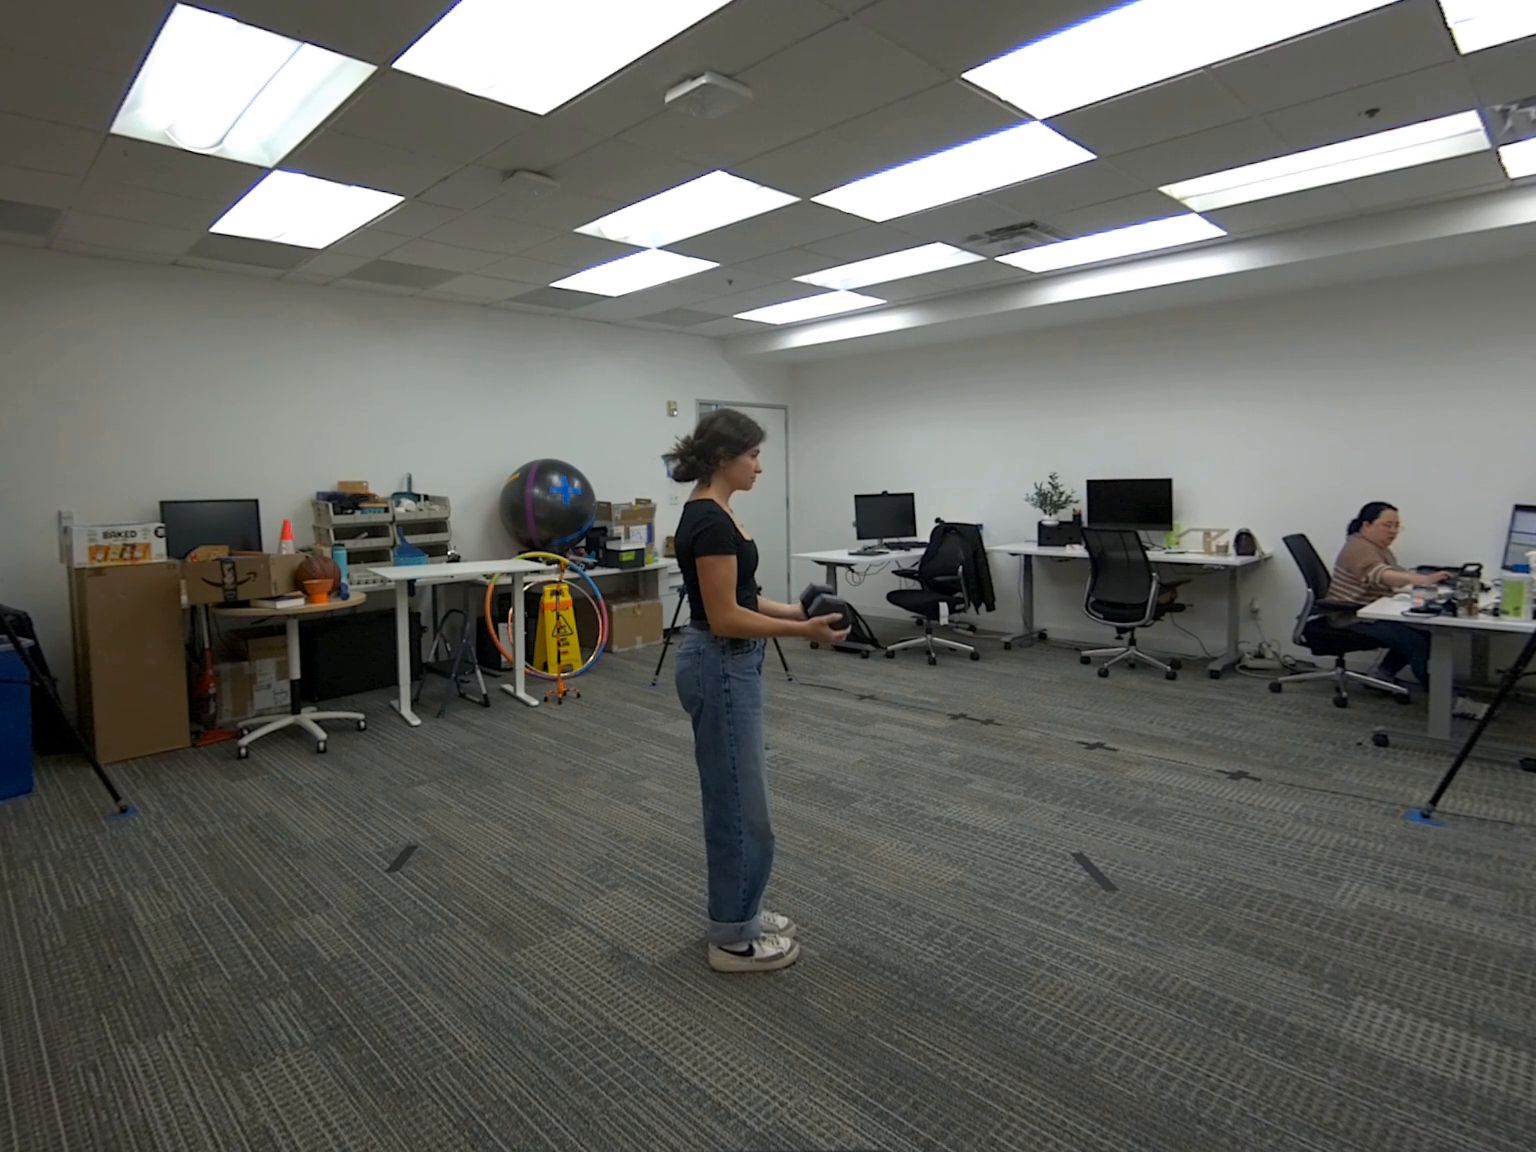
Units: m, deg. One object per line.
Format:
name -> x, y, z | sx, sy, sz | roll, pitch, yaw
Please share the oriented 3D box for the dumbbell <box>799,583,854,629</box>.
dumbbell -> 0.158, 0.094, 2.497 | 0.123, 0.108, 0.296 | -42, 8, 3
